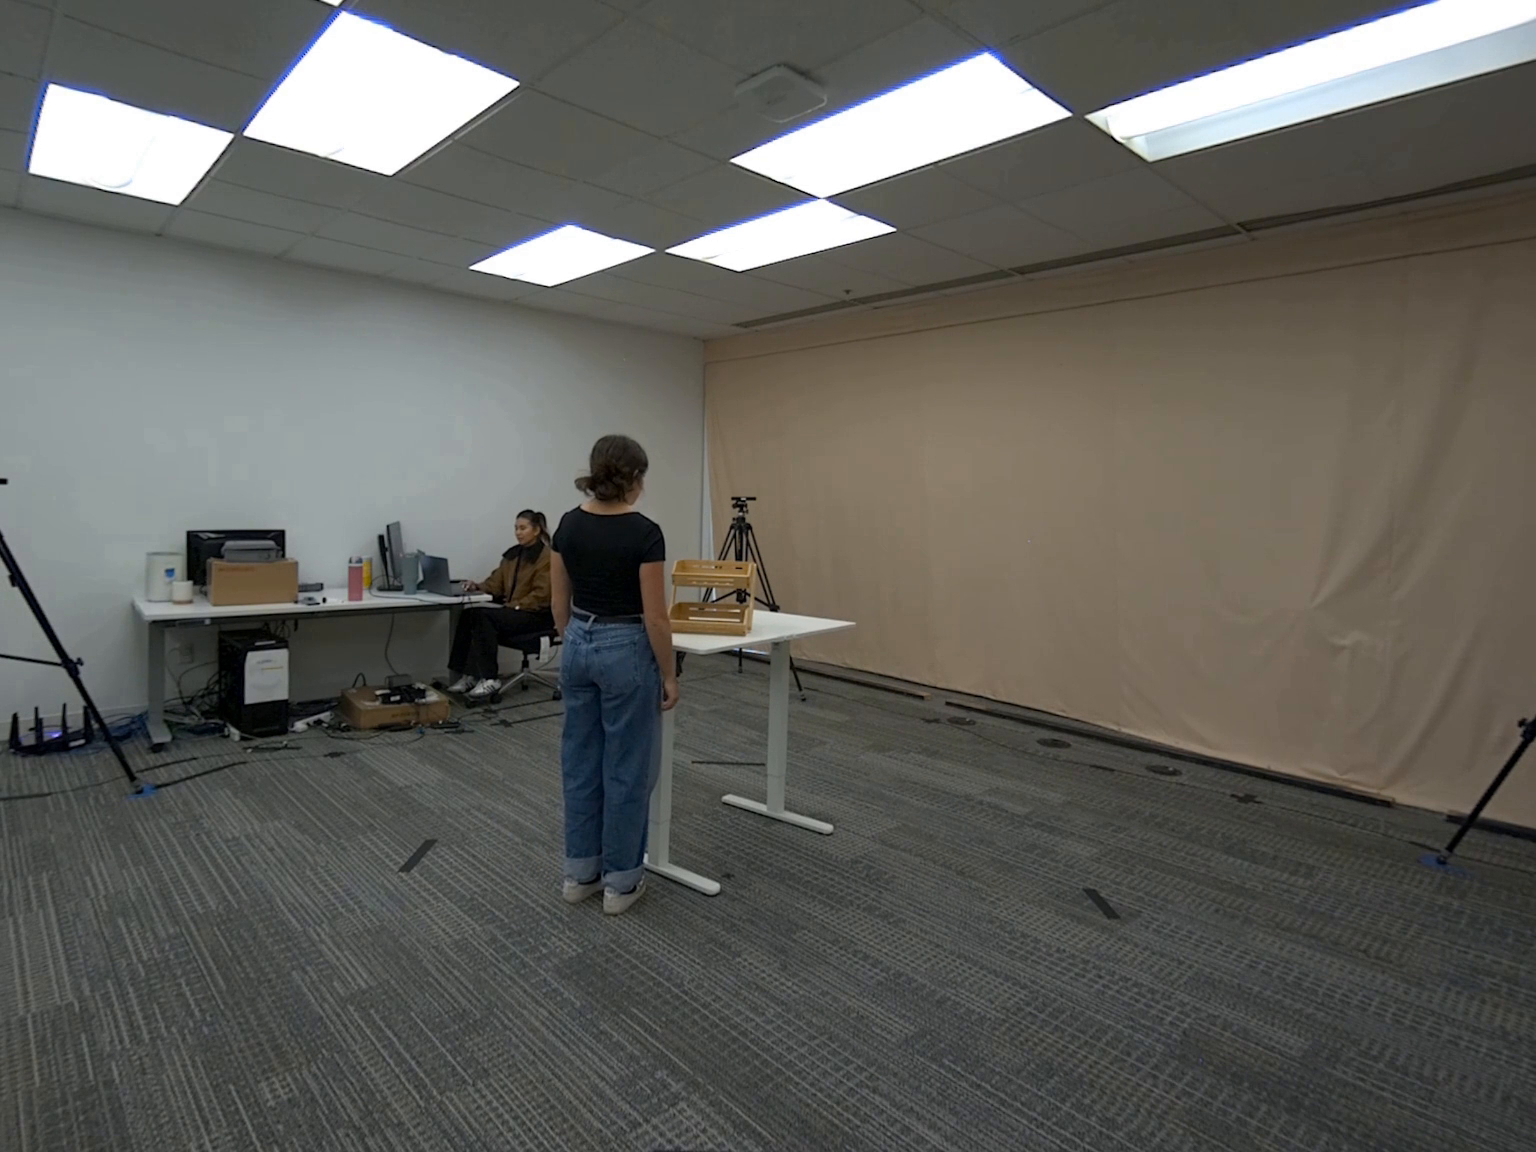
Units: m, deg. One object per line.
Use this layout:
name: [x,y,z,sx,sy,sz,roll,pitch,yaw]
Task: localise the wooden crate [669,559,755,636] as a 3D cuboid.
wooden crate: [-0.228,0.080,3.266,0.326,0.272,0.301,3,4,5]
